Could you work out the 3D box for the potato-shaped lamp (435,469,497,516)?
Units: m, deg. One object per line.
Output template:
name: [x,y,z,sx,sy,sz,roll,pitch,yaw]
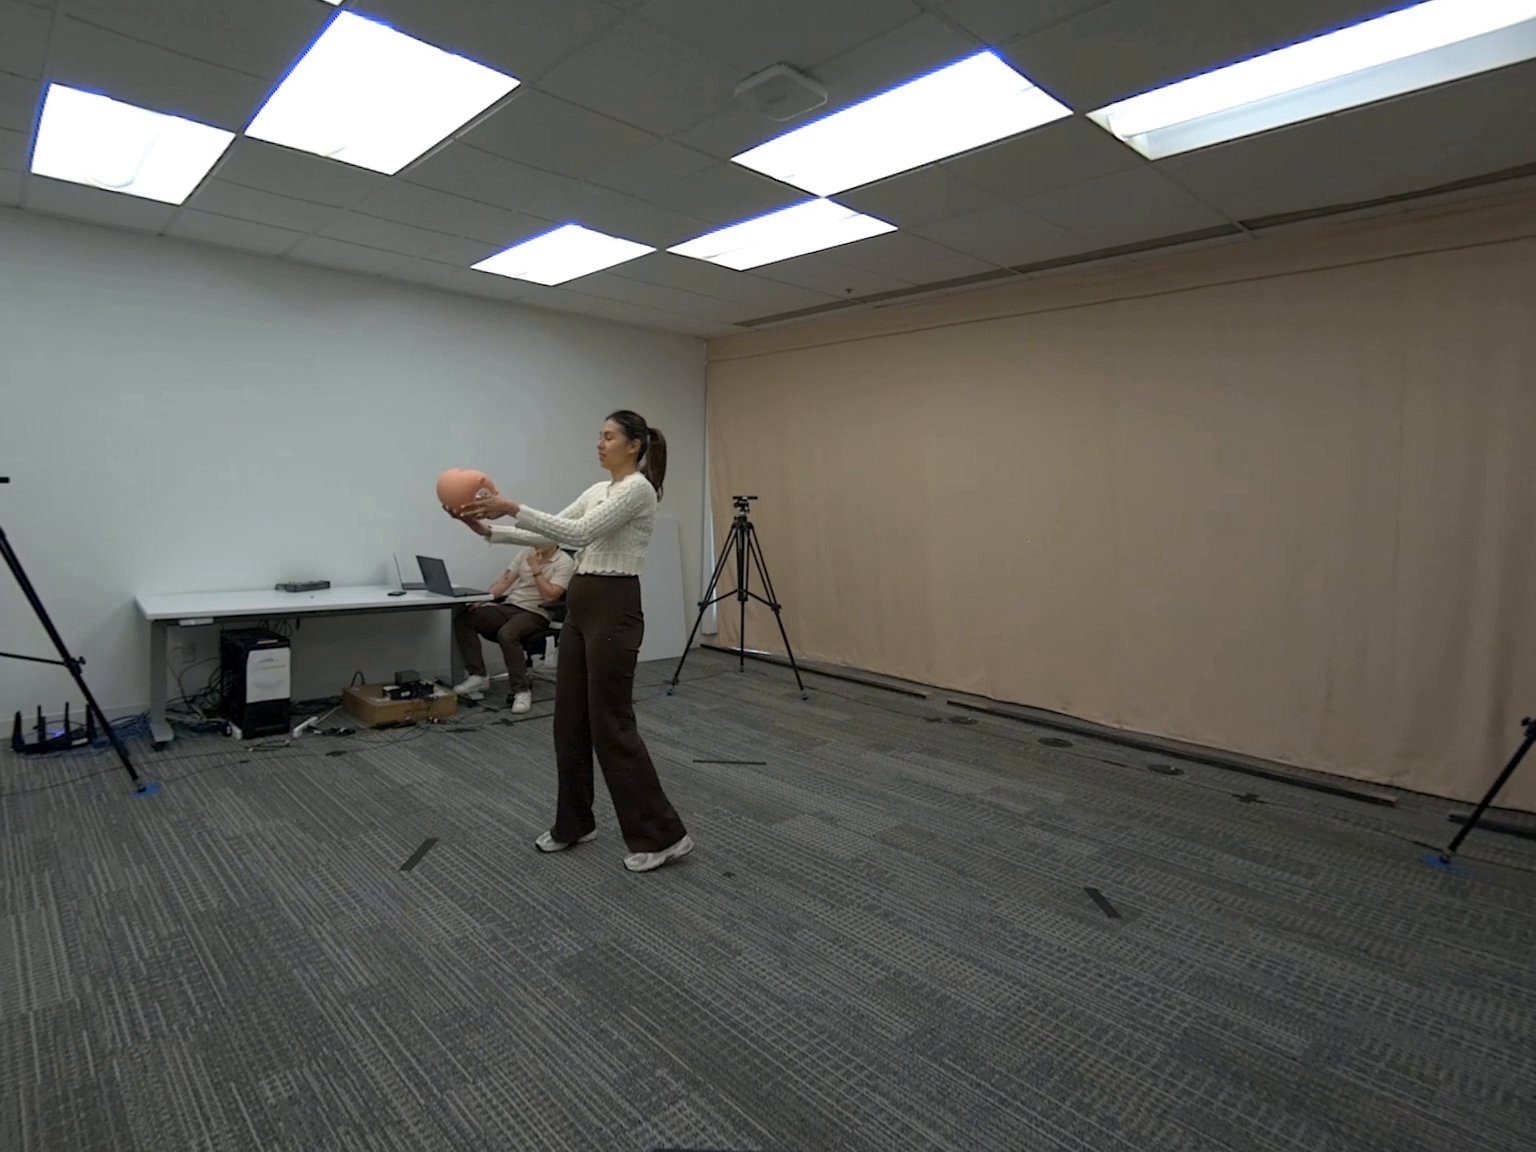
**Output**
potato-shaped lamp: [-1.103,-0.308,3.038,0.201,0.172,0.162,10,-4,17]
